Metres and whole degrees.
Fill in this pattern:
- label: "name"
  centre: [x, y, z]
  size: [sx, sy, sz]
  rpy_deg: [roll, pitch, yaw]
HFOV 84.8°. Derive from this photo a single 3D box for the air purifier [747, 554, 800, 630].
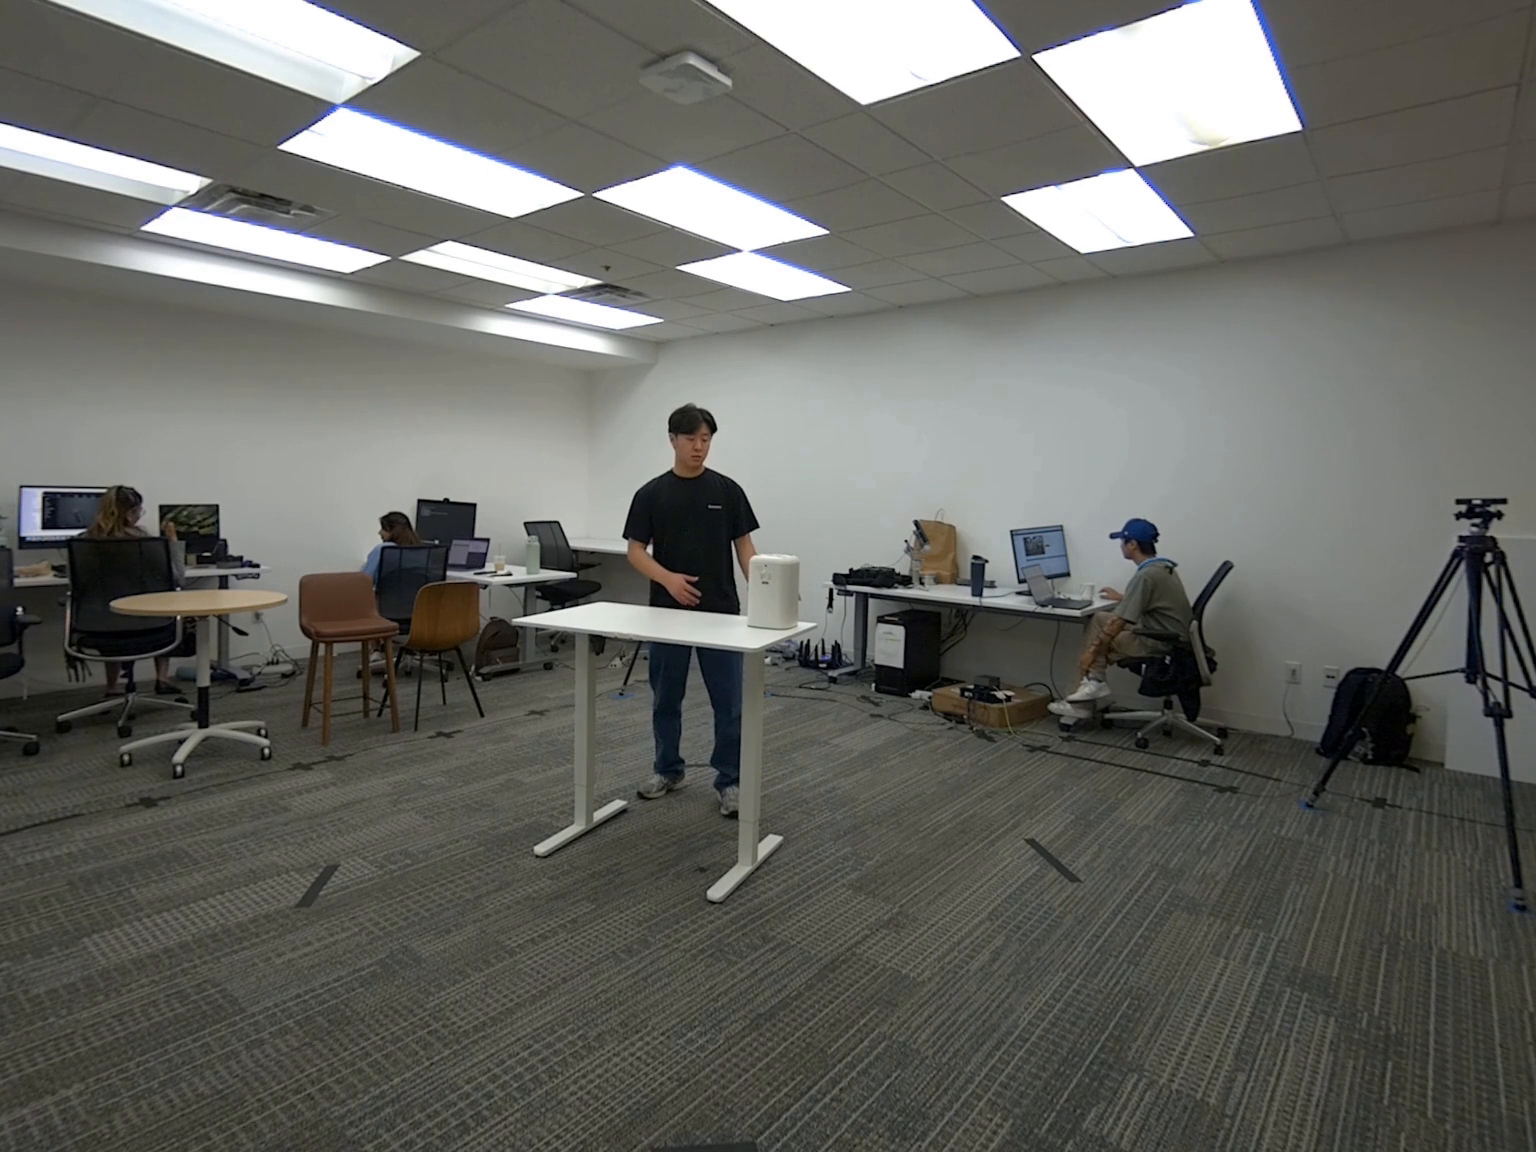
- label: "air purifier"
  centre: [0.012, 0.053, 3.188]
  size: [0.174, 0.265, 0.168]
  rpy_deg: [2, 2, 18]
